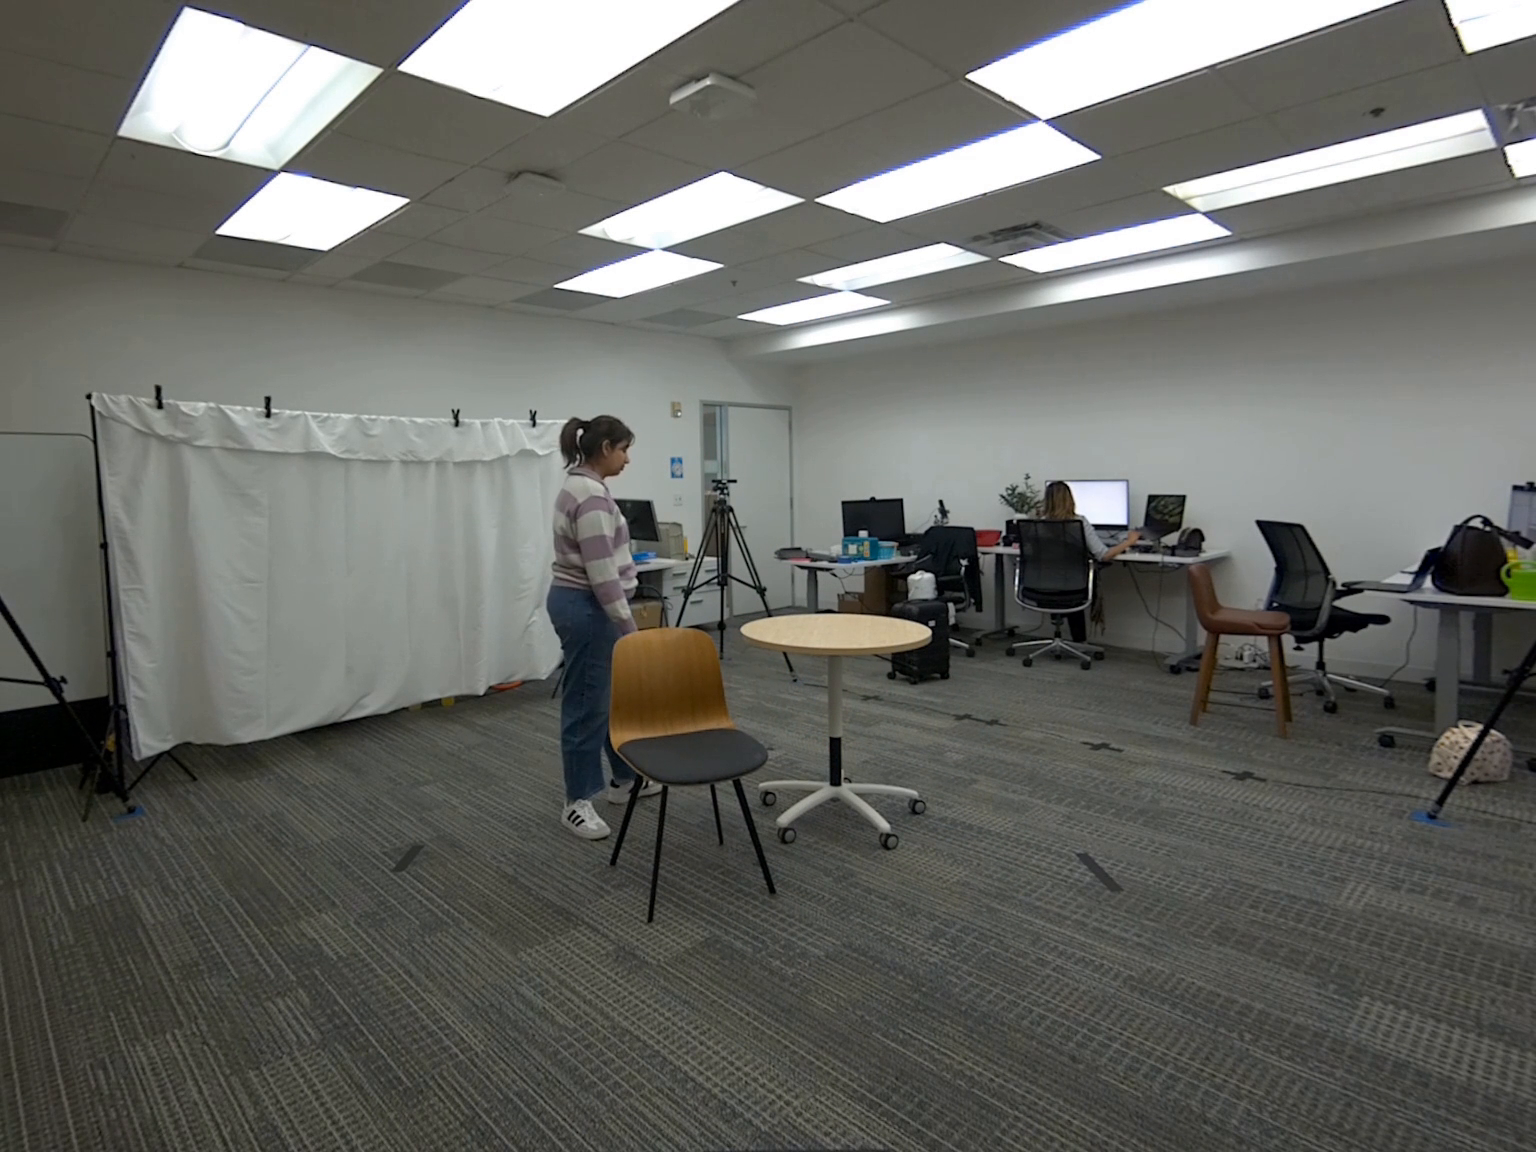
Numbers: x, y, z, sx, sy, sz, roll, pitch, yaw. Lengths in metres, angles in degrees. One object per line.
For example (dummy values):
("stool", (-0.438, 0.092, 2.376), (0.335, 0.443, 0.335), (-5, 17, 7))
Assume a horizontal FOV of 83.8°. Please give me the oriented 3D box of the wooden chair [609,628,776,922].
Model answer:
("wooden chair", (-0.276, 0.642, 2.954), (0.468, 0.877, 0.534), (-3, 0, -25))
